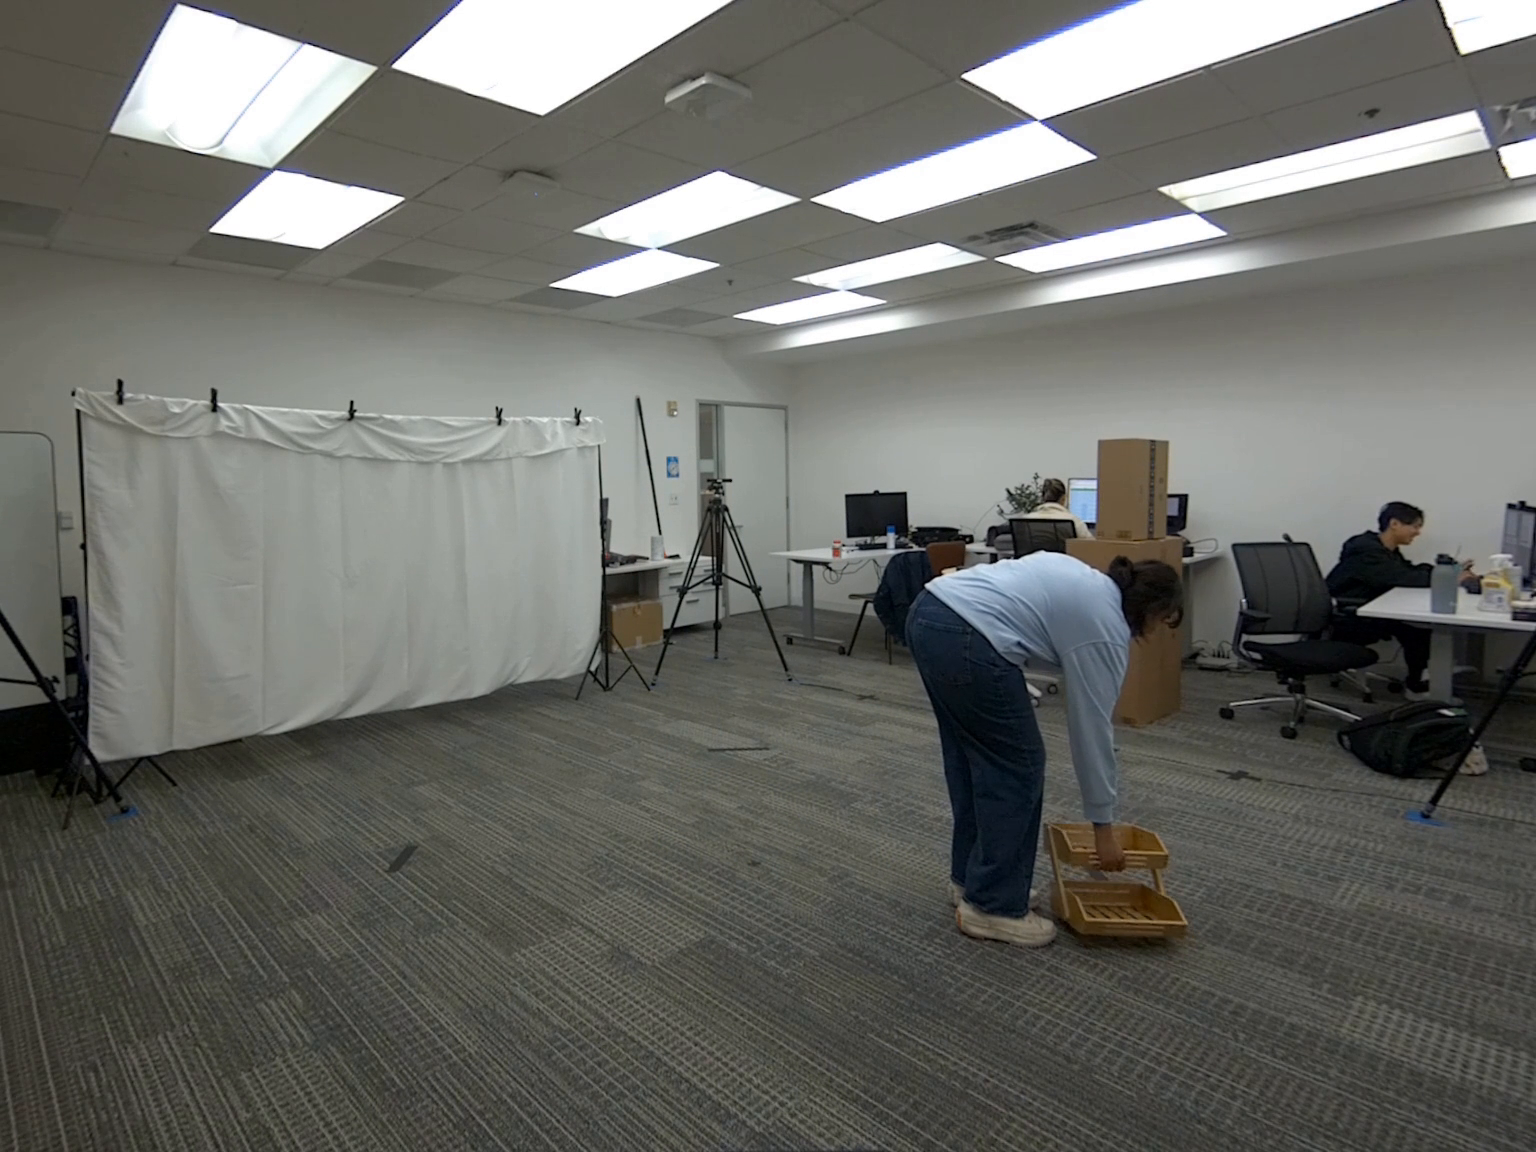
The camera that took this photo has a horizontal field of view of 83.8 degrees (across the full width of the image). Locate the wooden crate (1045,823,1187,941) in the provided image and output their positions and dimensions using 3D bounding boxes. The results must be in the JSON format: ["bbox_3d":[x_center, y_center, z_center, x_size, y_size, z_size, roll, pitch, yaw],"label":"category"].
[{"bbox_3d":[1.061,0.916,2.615,0.323,0.275,0.301,3,-6,-3],"label":"wooden crate"}]
